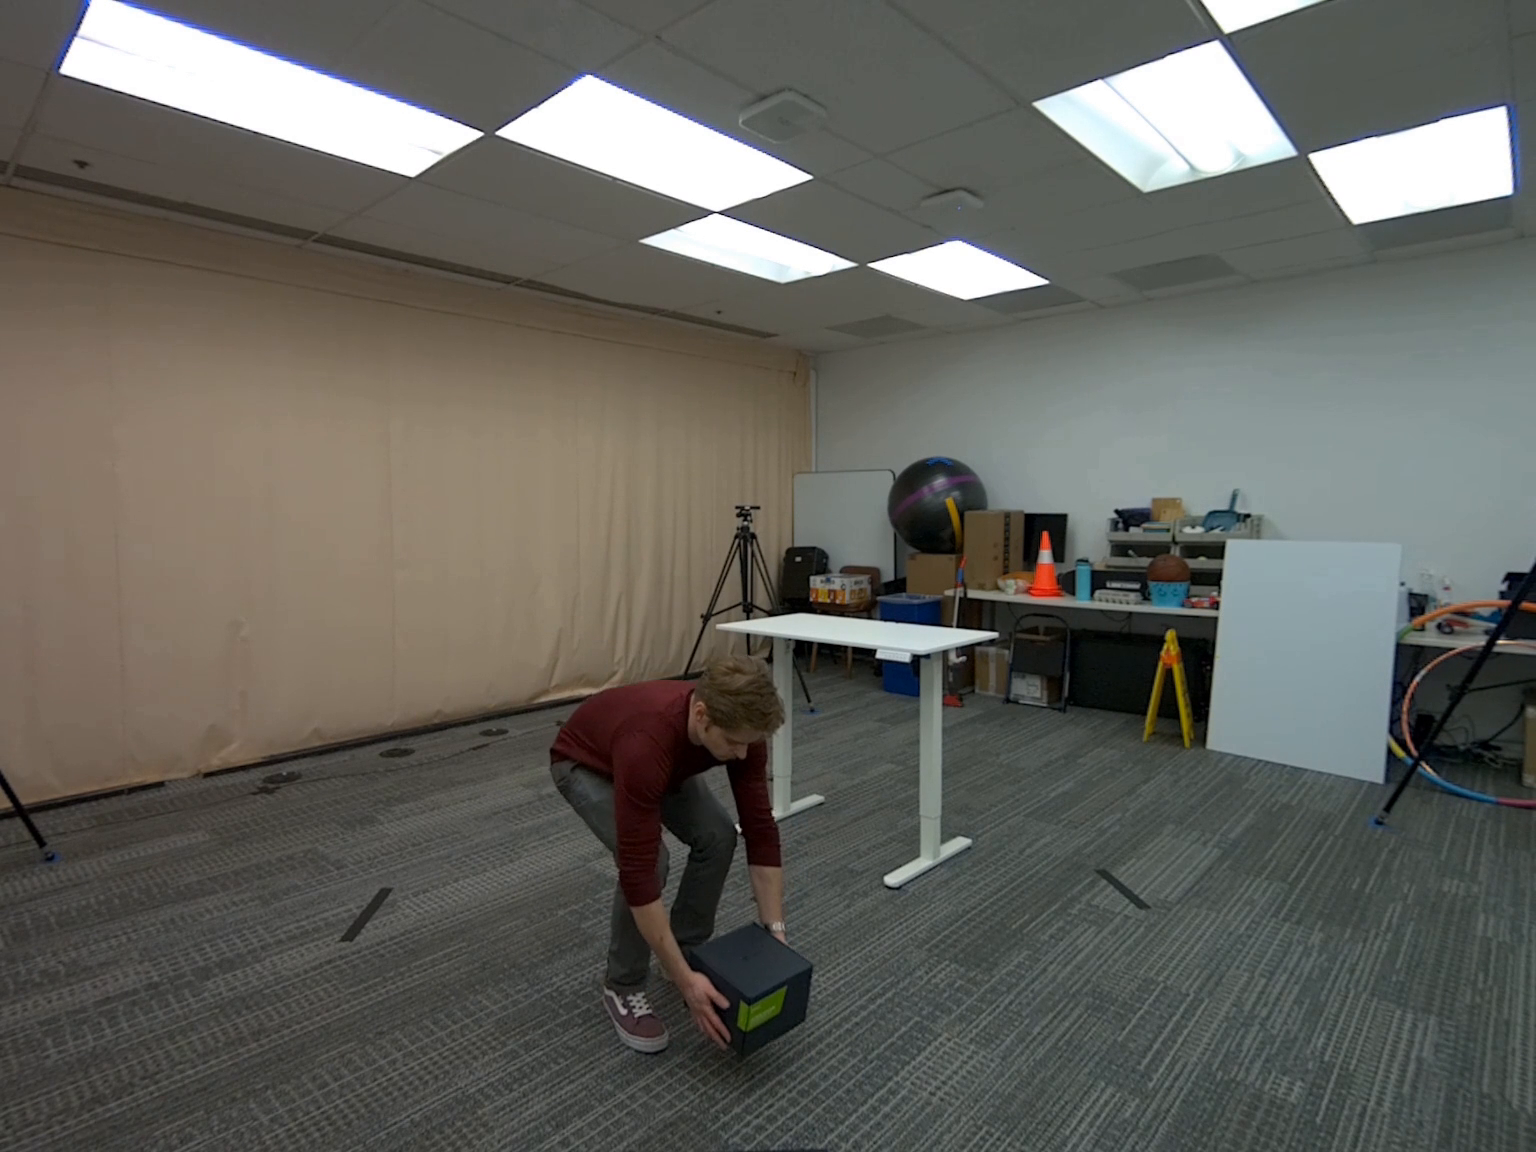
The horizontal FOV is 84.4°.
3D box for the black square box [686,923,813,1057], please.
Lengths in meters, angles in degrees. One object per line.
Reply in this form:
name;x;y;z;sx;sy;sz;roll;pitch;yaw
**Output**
black square box;-0.053;1.017;2.080;0.221;0.155;0.225;-1;12;-43
